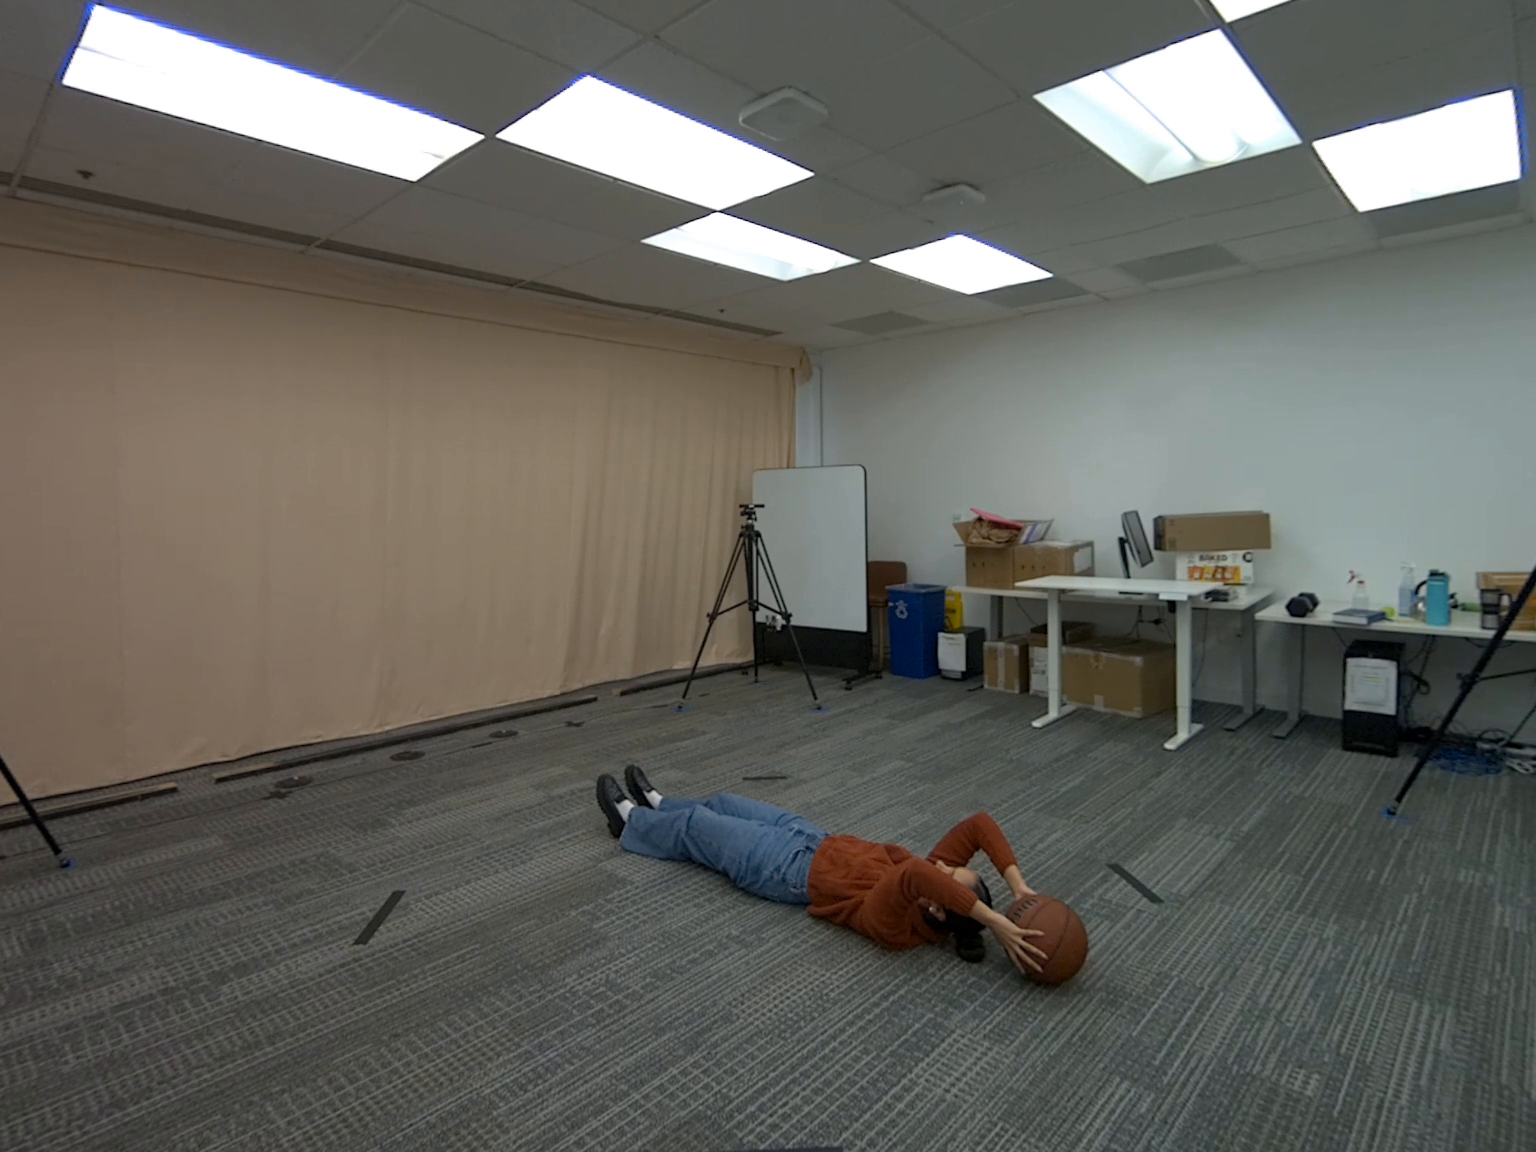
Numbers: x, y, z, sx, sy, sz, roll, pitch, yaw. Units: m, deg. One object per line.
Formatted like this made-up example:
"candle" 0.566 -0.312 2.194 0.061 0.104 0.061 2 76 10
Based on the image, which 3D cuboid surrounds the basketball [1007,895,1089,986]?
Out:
"basketball" 0.799 1.052 2.444 0.235 0.235 0.237 2 5 -2
